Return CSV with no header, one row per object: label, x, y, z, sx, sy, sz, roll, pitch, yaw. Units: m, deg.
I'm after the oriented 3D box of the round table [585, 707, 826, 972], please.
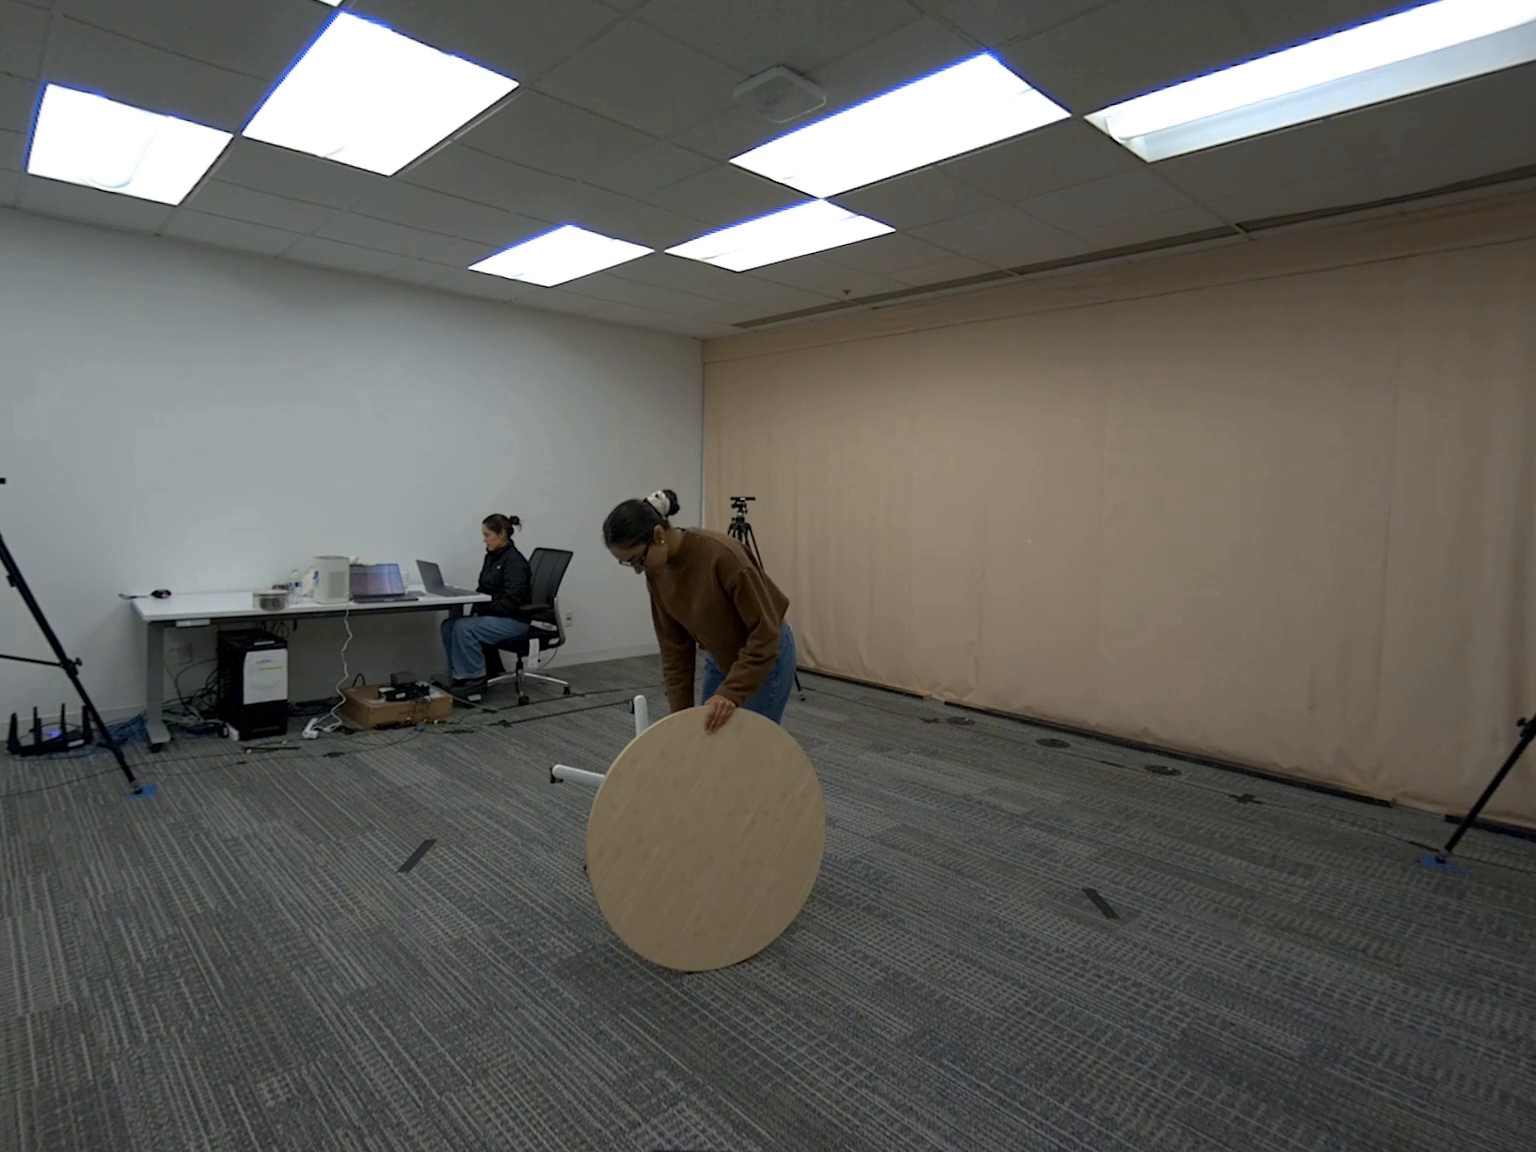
round table,-0.342,0.789,2.872,0.750,0.766,0.806,-1,-3,-25
